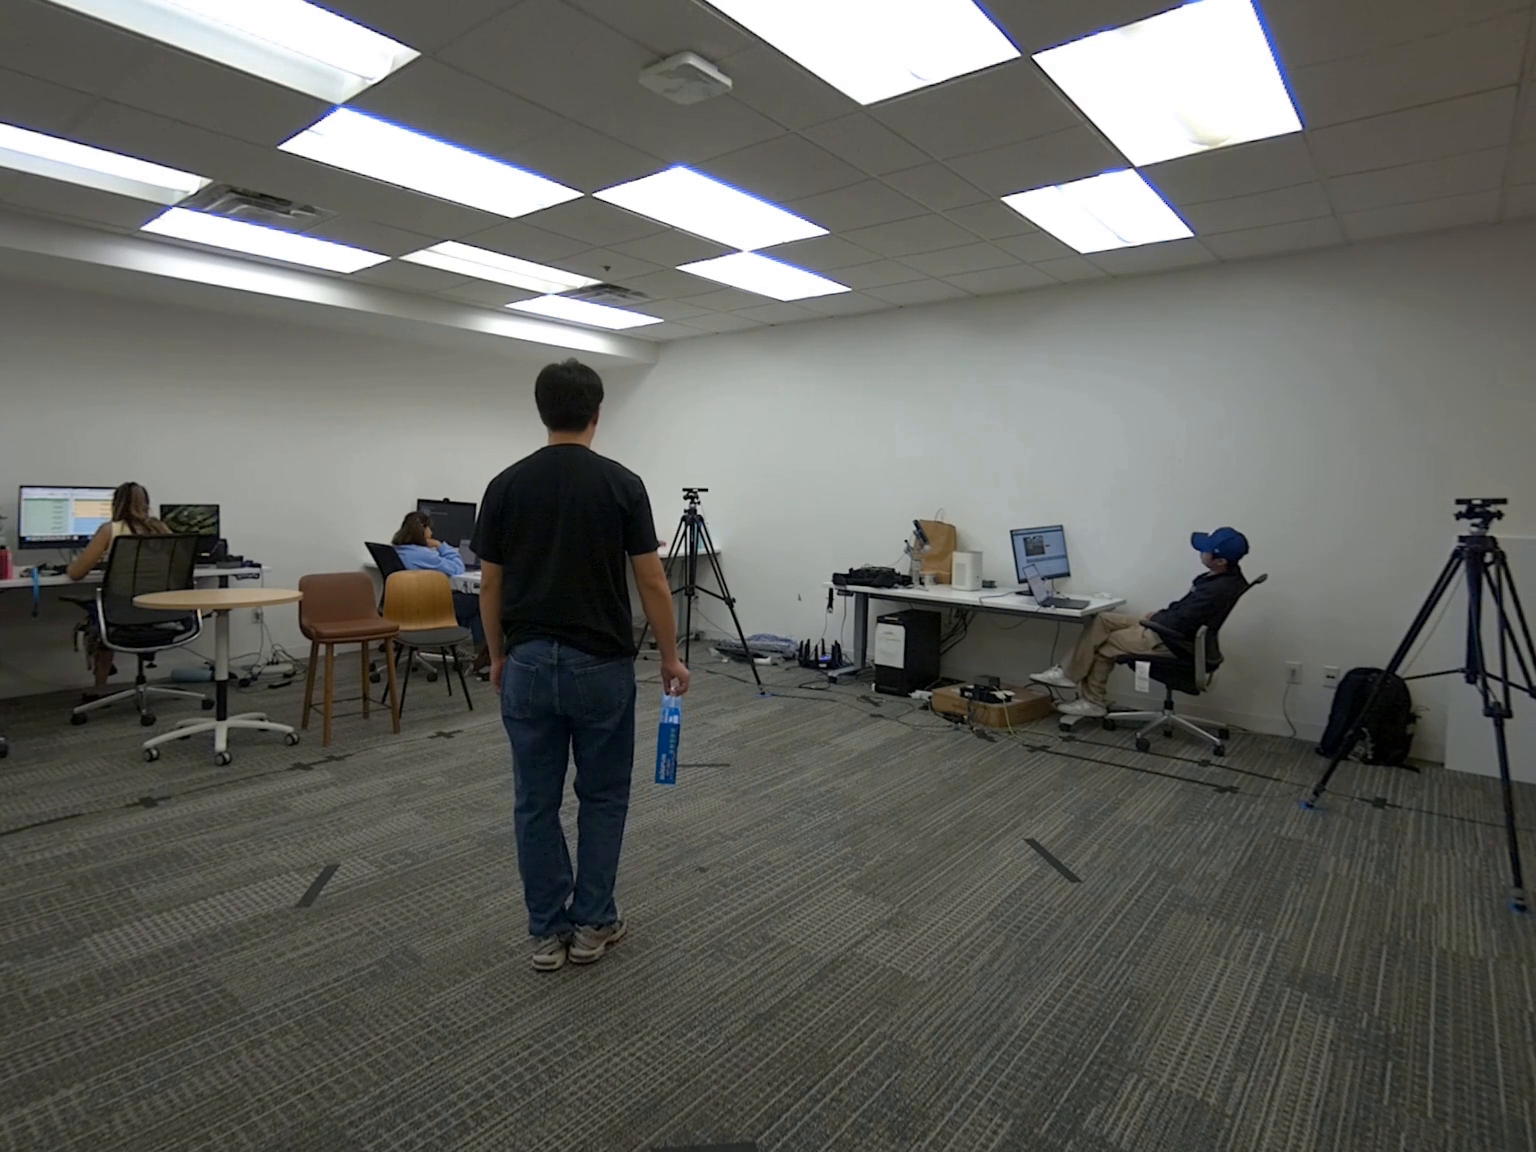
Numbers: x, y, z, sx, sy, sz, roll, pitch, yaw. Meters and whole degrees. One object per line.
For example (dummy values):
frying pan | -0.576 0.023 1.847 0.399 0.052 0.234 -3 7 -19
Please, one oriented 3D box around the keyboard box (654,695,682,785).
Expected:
keyboard box | -0.303 0.467 2.572 0.059 0.175 0.441 4 6 -7
